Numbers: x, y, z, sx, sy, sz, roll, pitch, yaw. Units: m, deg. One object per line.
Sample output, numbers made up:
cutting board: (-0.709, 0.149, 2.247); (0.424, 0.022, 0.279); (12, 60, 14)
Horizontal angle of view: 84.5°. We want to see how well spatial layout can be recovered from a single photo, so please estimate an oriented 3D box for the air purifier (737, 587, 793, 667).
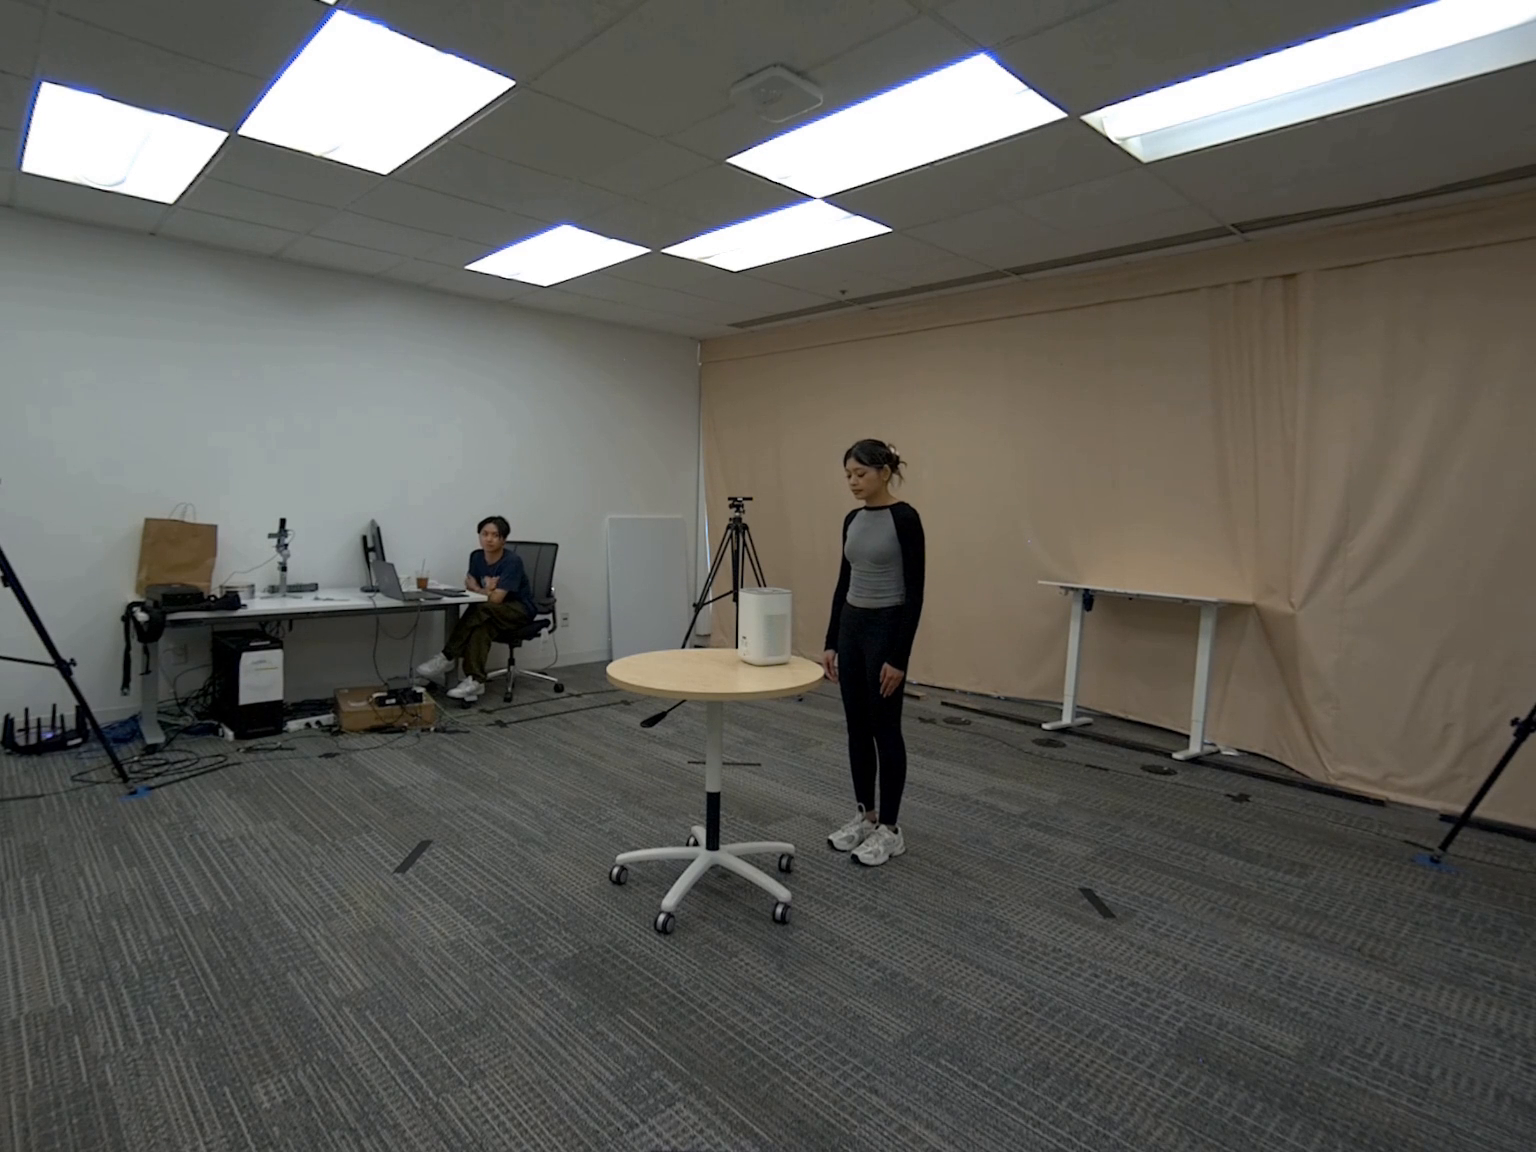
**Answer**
air purifier: (-0.020, 0.180, 3.080); (0.168, 0.265, 0.175); (-1, 2, -29)
